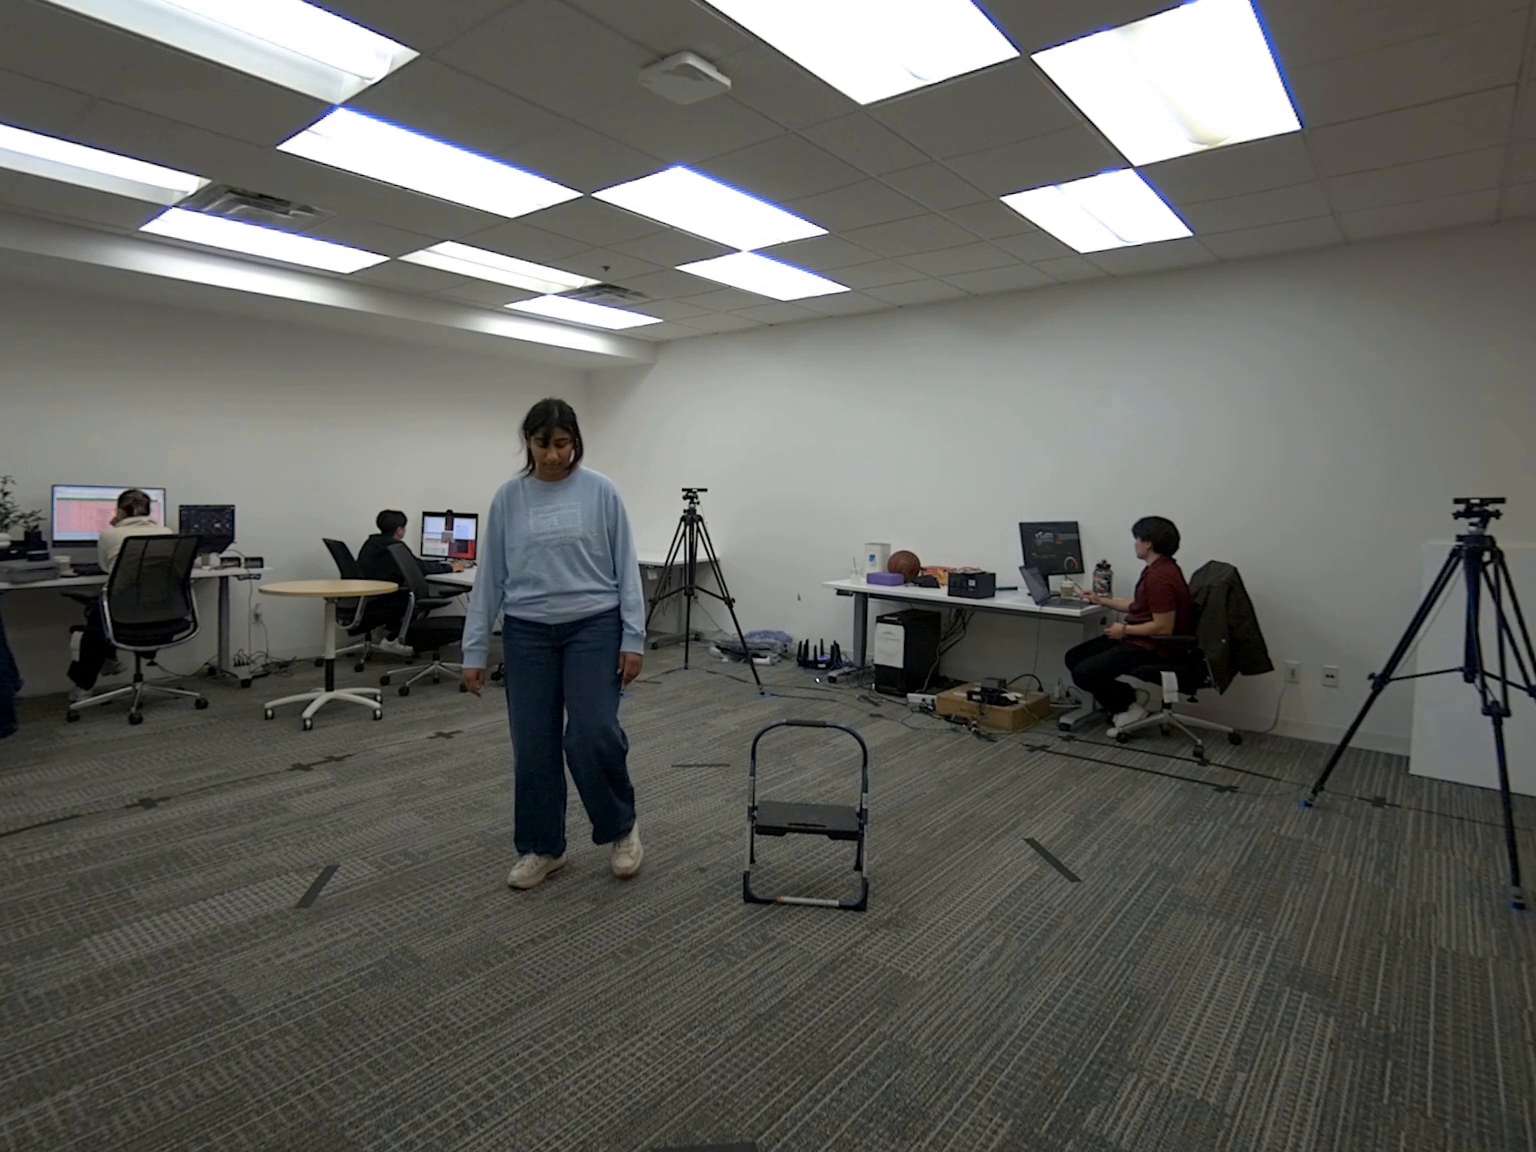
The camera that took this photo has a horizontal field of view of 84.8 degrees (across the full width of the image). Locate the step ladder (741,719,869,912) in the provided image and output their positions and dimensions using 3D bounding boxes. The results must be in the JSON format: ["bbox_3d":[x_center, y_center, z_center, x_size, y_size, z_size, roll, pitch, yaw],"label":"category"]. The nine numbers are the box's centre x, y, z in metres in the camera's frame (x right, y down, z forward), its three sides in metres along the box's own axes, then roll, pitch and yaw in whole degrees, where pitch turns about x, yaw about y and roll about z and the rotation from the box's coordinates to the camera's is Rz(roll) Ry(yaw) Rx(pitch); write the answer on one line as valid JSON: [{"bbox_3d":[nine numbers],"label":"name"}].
[{"bbox_3d":[0.132,0.788,2.987,0.433,0.605,0.348,2,3,4],"label":"step ladder"}]
